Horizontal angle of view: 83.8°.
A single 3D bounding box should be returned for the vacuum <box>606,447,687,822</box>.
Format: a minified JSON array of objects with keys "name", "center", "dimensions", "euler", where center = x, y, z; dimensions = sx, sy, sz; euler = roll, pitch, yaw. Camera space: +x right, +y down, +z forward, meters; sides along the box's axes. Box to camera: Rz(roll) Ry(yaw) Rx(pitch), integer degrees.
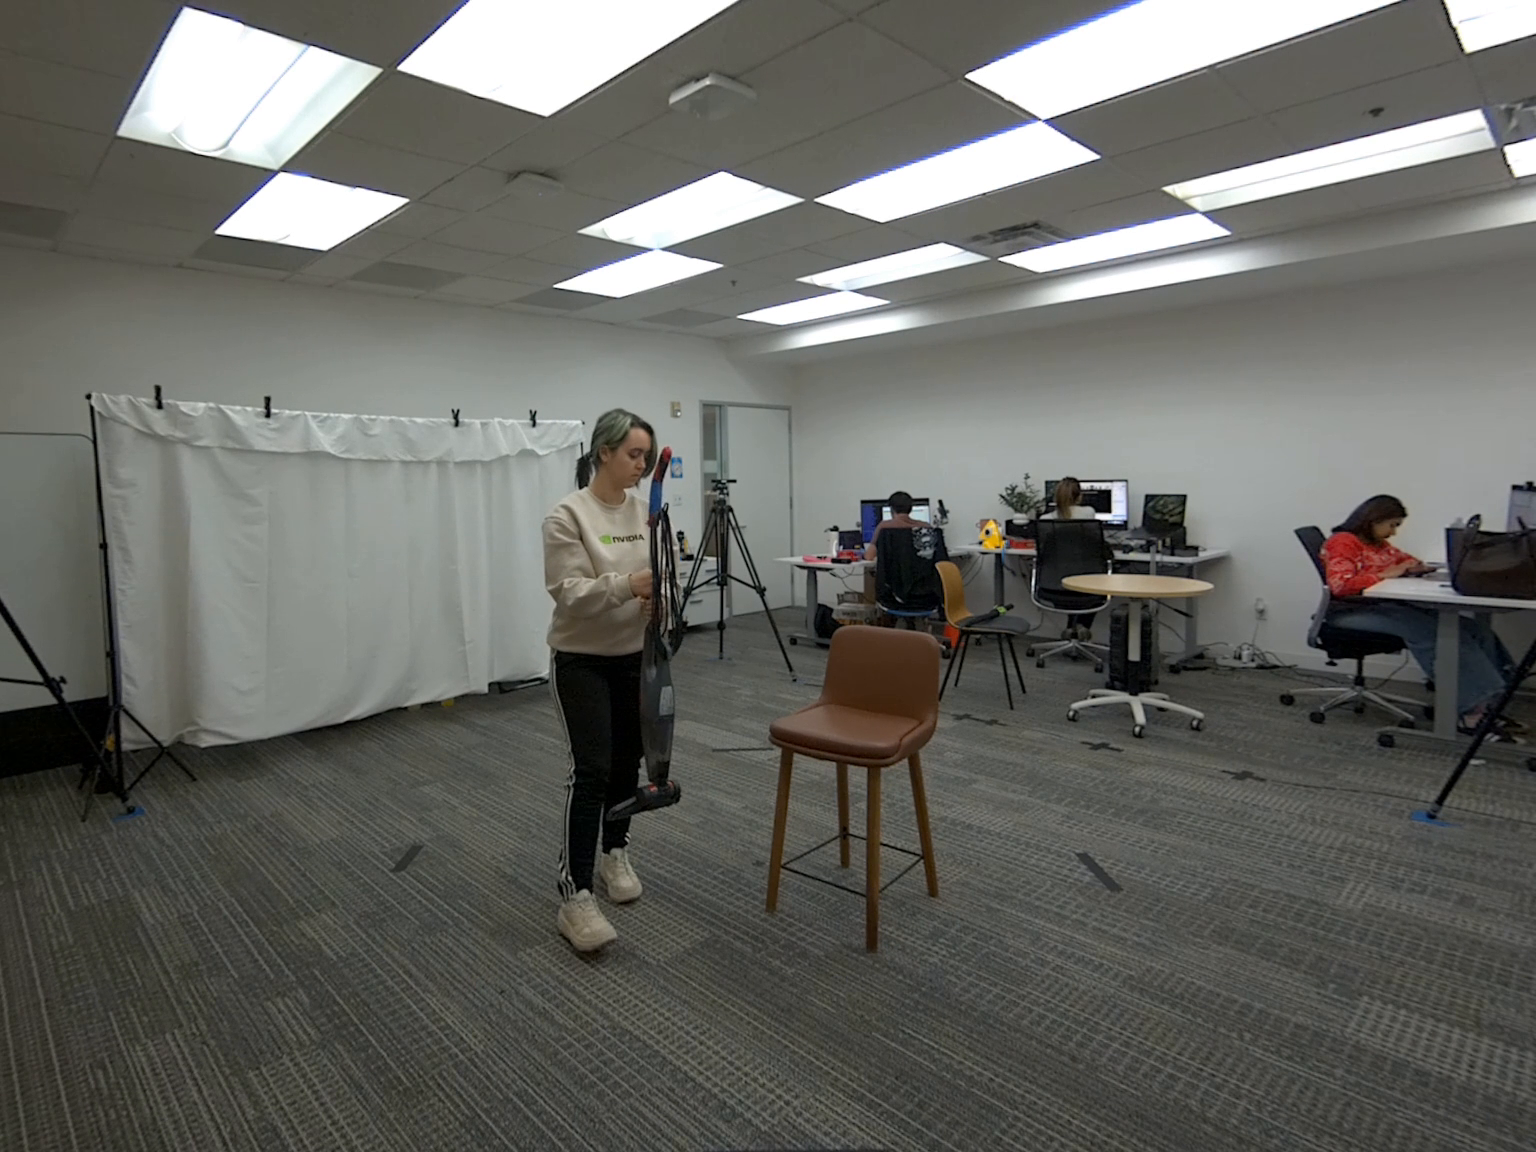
[{"name":"vacuum","center":[-0.316,0.152,2.527],"dimensions":[0.245,1.046,0.148],"euler":[1,4,-41]}]
